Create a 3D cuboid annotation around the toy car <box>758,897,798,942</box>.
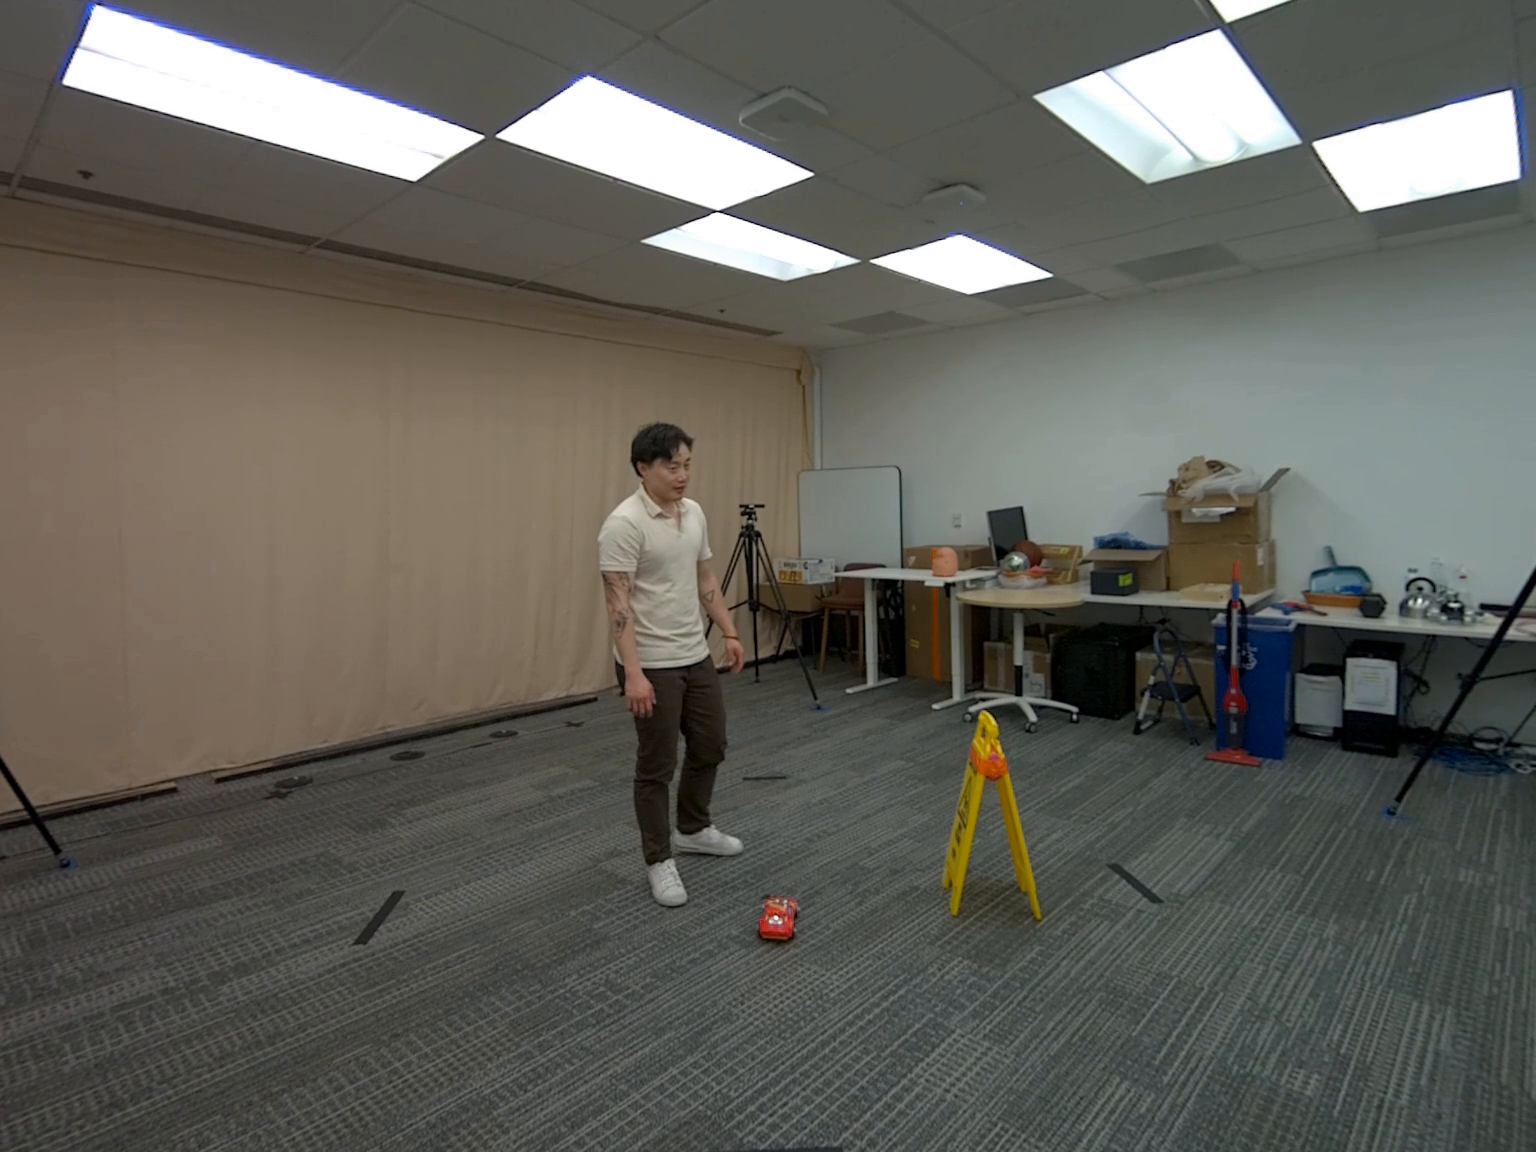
[{"bbox_3d":[0.033,1.128,2.753,0.132,0.083,0.250,0,-7,9],"label":"toy car"}]
